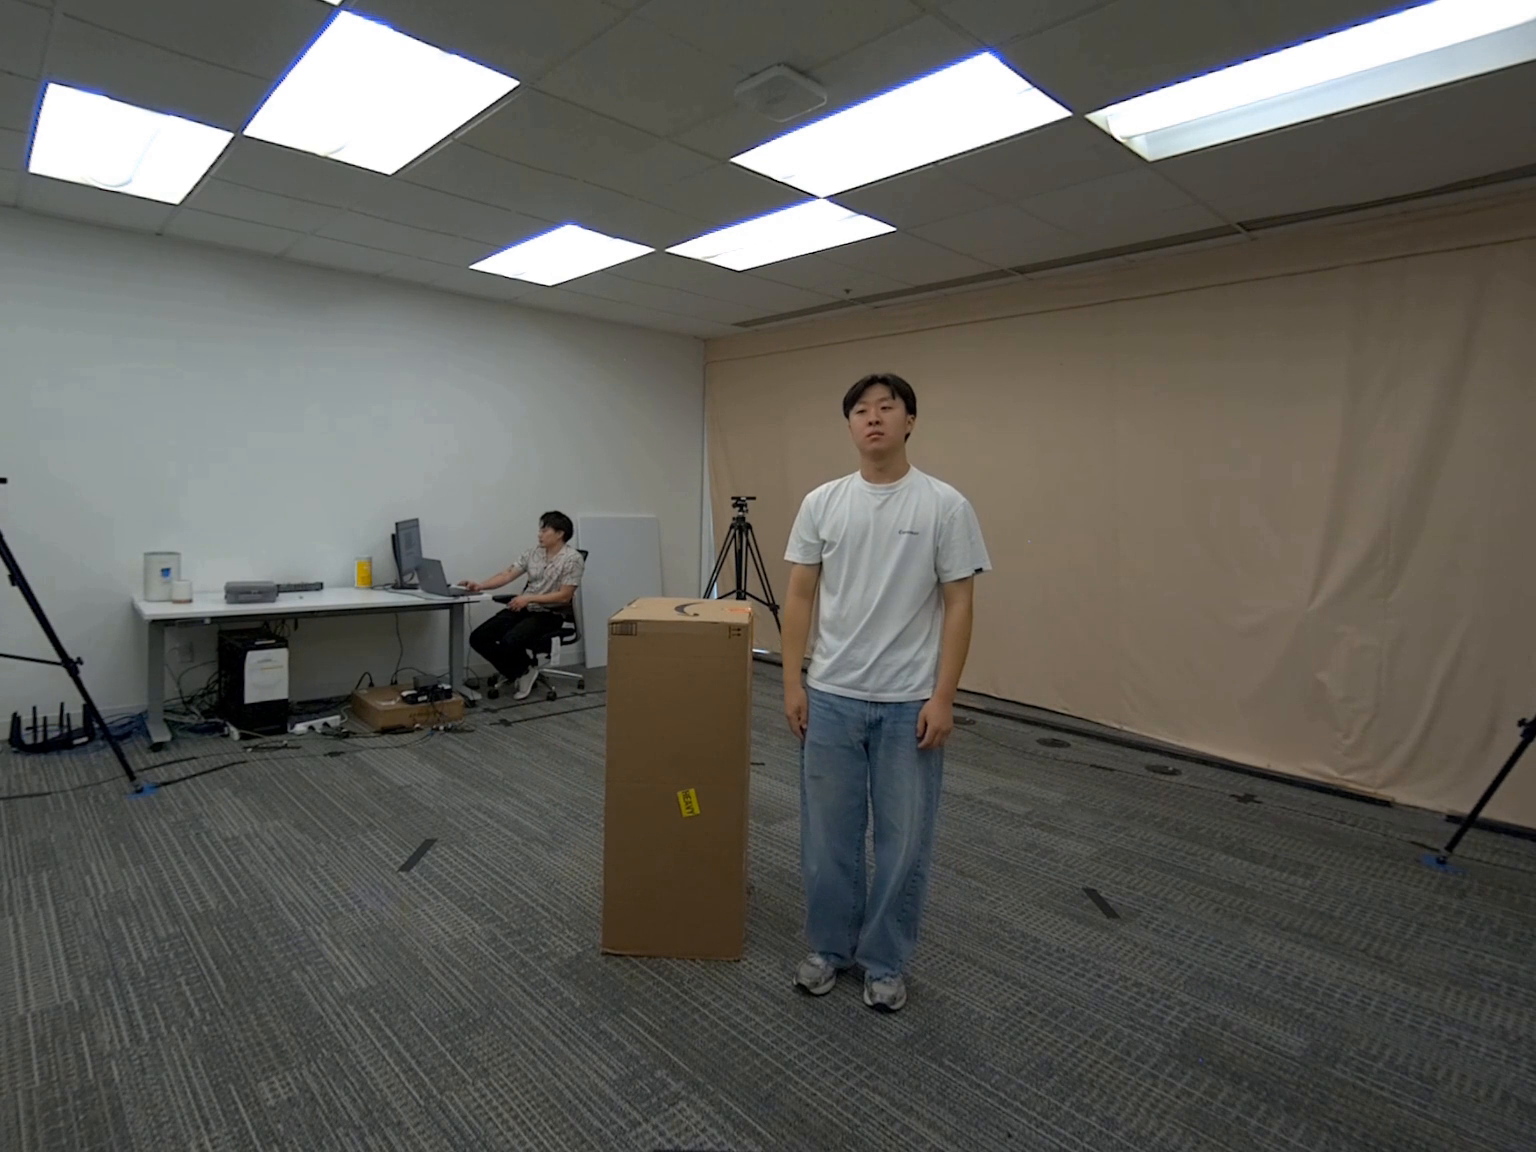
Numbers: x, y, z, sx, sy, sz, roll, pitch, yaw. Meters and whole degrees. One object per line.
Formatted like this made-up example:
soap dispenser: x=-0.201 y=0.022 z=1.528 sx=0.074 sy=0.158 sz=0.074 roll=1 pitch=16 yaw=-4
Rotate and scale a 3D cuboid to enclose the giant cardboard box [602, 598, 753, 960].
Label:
giant cardboard box: x=-0.284 y=0.619 z=2.800 sx=0.427 sy=1.024 sz=0.577 roll=2 pitch=3 yaw=2
